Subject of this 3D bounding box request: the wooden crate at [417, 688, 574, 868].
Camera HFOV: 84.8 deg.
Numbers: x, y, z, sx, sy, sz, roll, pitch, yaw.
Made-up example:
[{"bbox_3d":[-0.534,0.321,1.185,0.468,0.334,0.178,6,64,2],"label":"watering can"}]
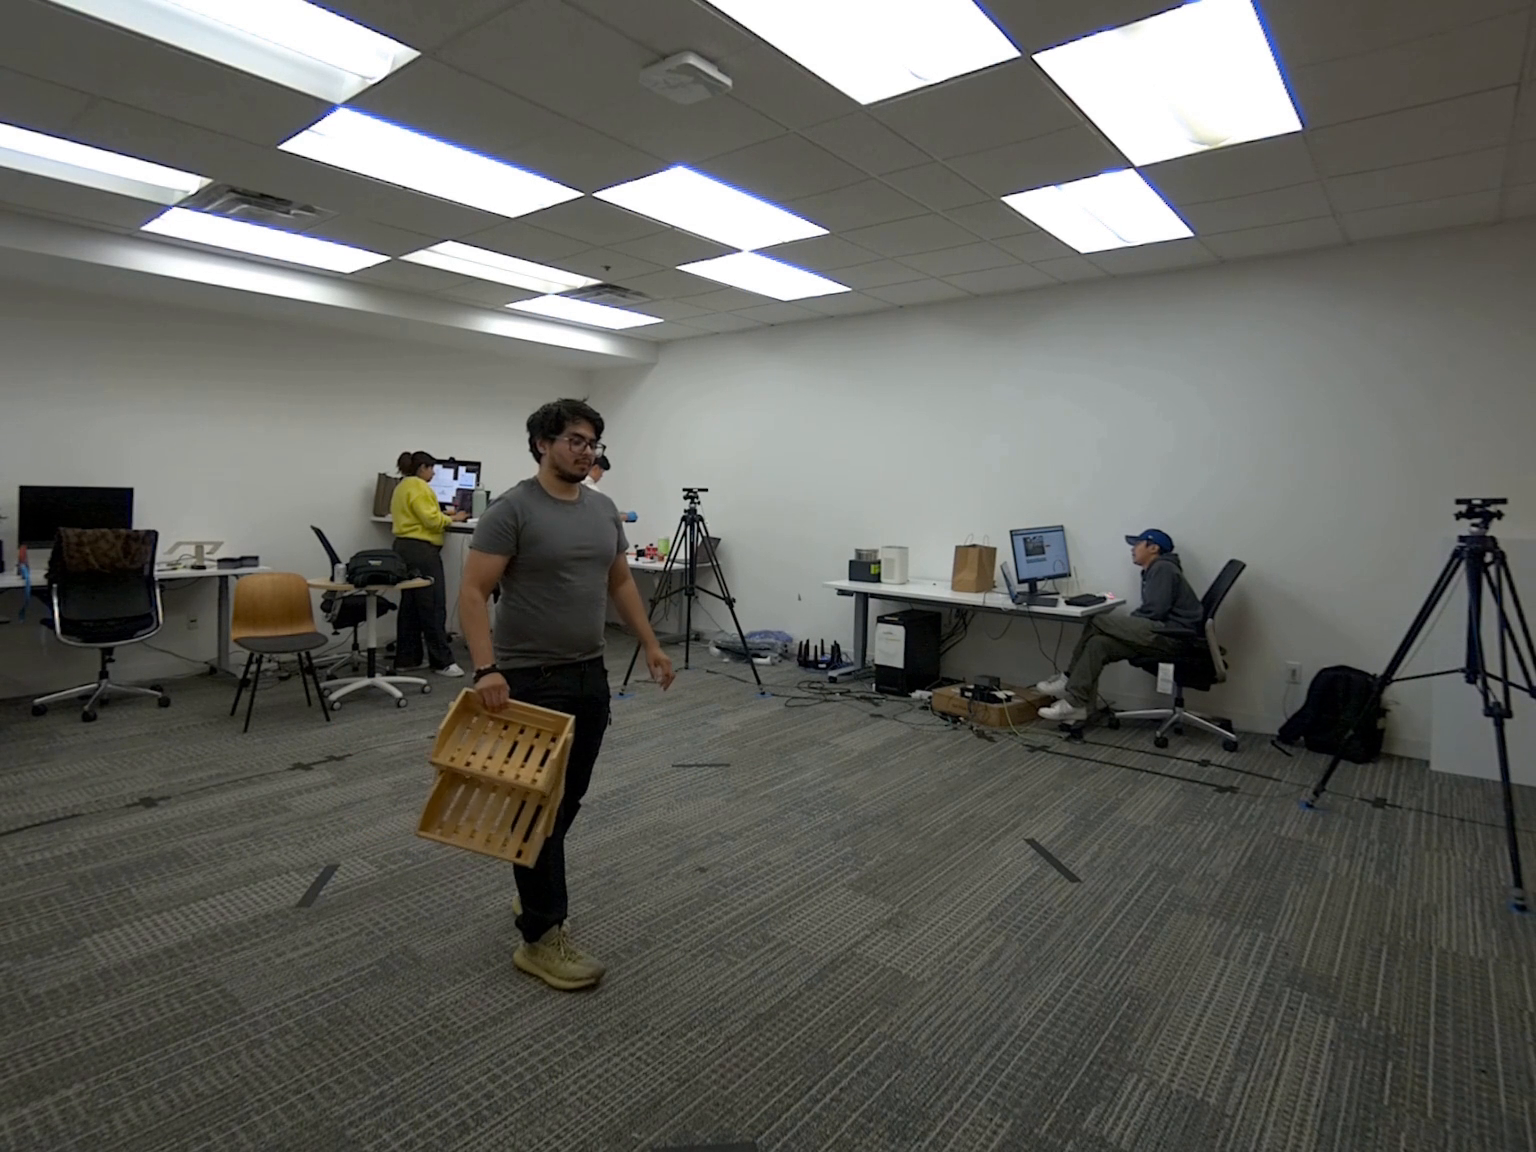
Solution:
[{"bbox_3d":[-0.694,0.508,2.148,0.325,0.267,0.308,12,37,2],"label":"wooden crate"}]
